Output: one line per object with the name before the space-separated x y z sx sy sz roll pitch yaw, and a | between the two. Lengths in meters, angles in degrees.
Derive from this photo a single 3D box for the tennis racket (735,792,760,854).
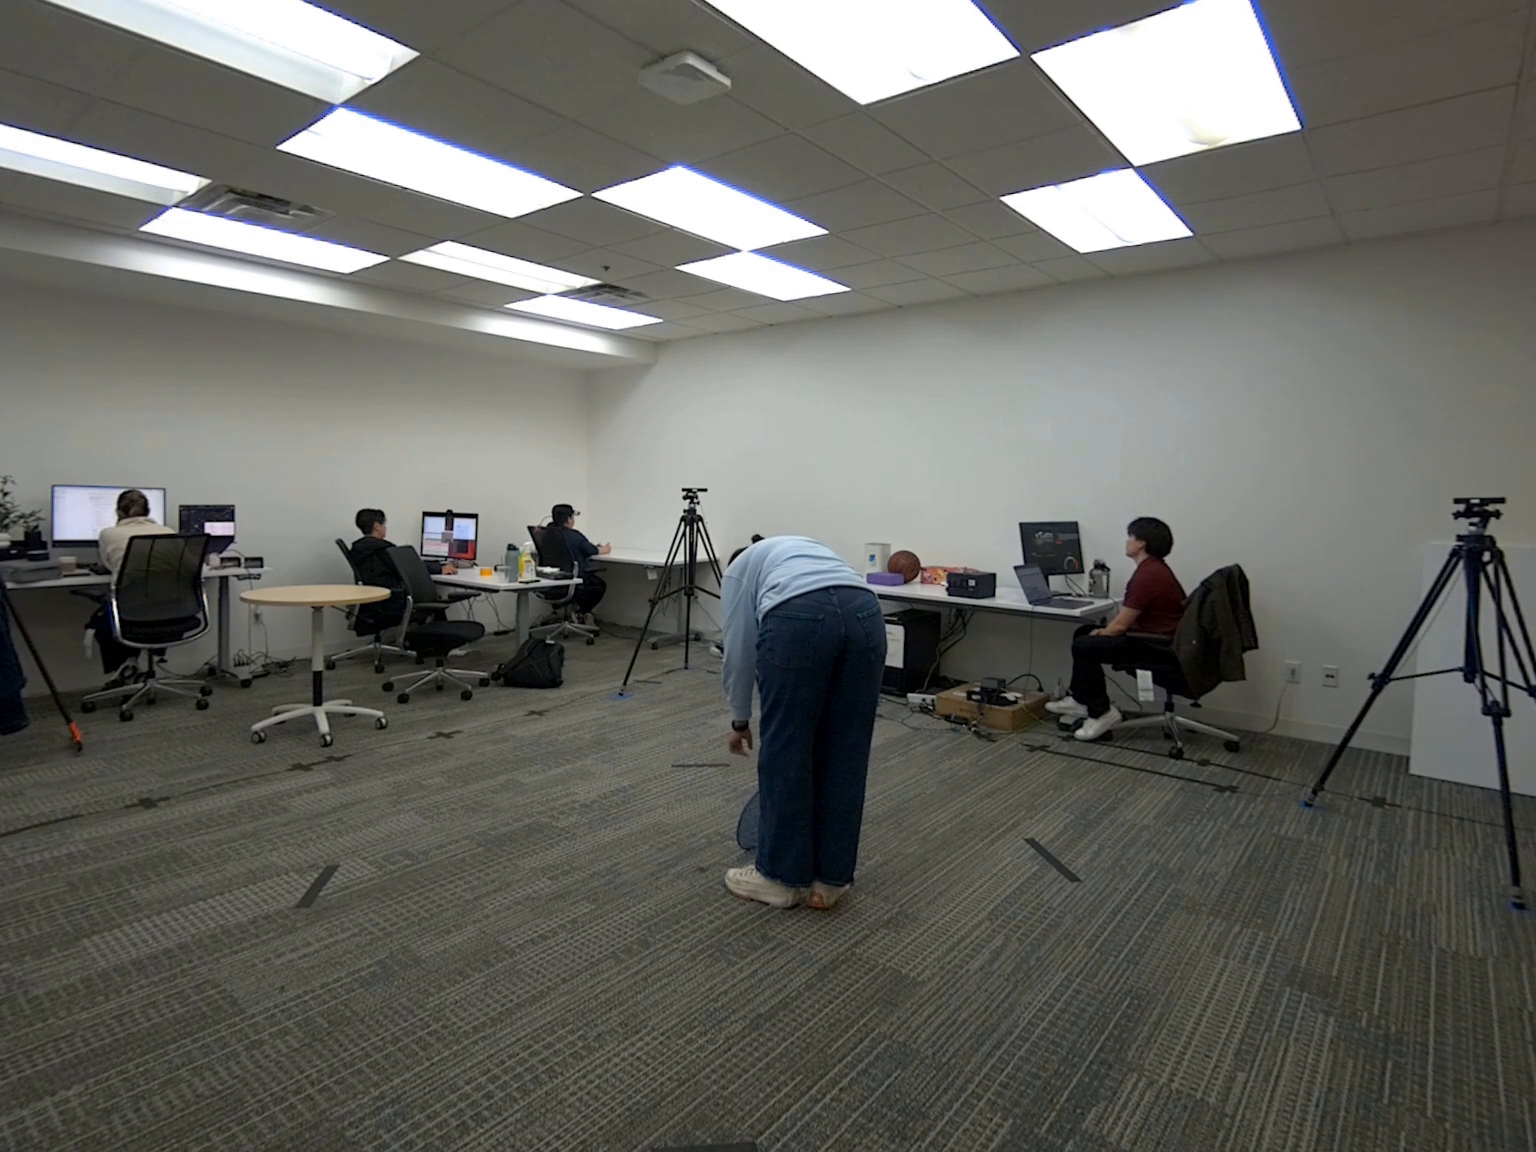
tennis racket | -0.032 0.846 3.247 0.033 0.430 0.206 21 12 42
